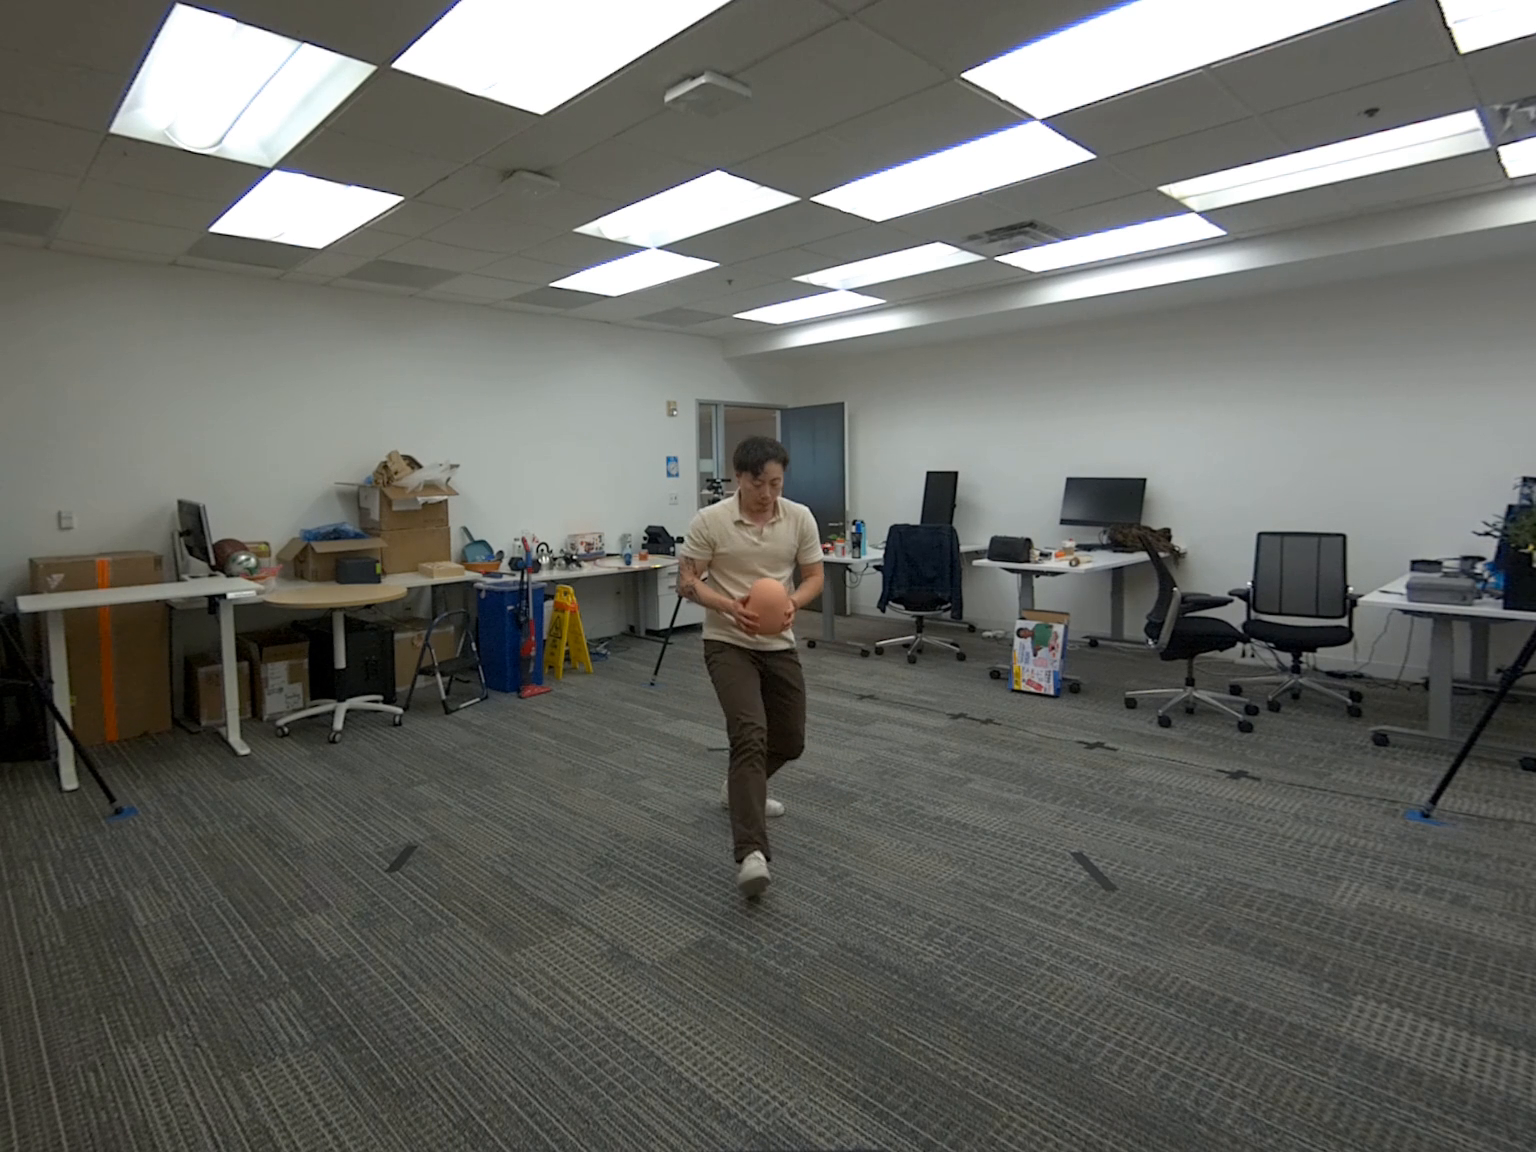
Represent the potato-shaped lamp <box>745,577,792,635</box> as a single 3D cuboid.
[{"bbox_3d":[-0.001,0.108,3.022,0.164,0.194,0.176,-3,26,-5],"label":"potato-shaped lamp"}]
